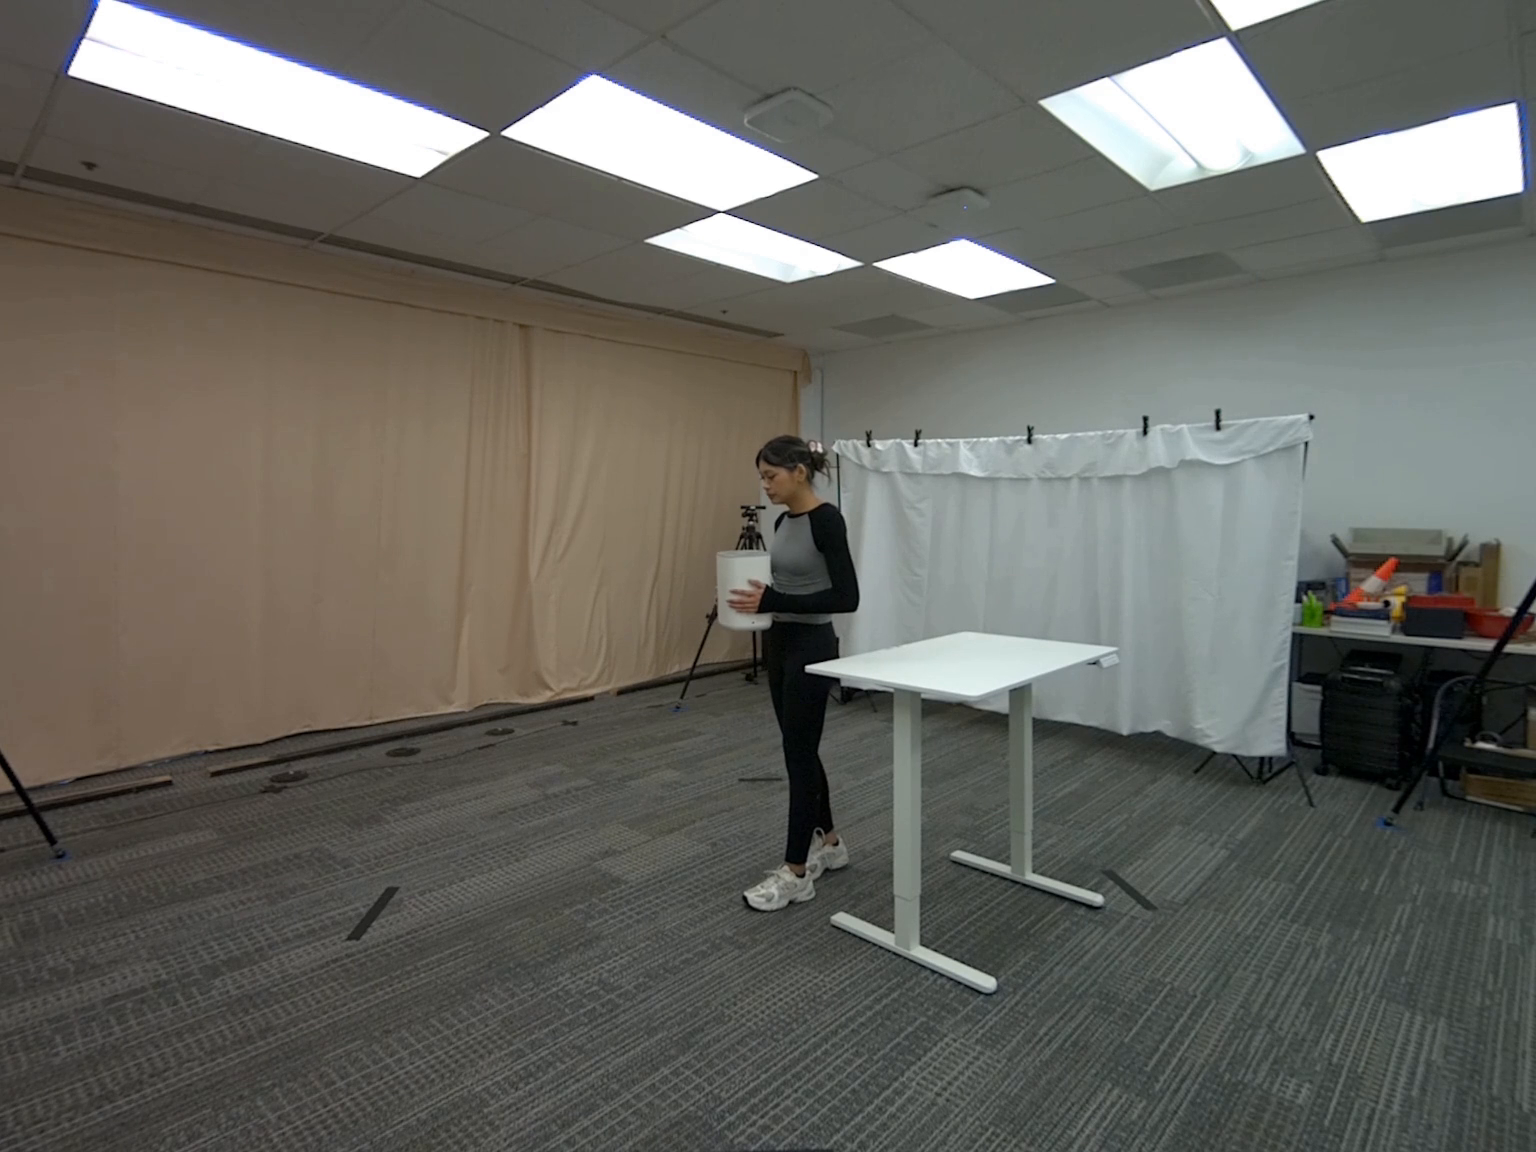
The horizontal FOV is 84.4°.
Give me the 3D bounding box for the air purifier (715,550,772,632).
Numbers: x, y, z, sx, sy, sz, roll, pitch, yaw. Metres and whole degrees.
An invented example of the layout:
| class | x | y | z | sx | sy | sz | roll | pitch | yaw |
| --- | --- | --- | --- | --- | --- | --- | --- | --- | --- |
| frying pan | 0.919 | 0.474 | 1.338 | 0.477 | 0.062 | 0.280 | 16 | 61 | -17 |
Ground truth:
| class | x | y | z | sx | sy | sz | roll | pitch | yaw |
| --- | --- | --- | --- | --- | --- | --- | --- | --- | --- |
| air purifier | -0.078 | 0.053 | 2.938 | 0.168 | 0.264 | 0.175 | -2 | 5 | -16 |
